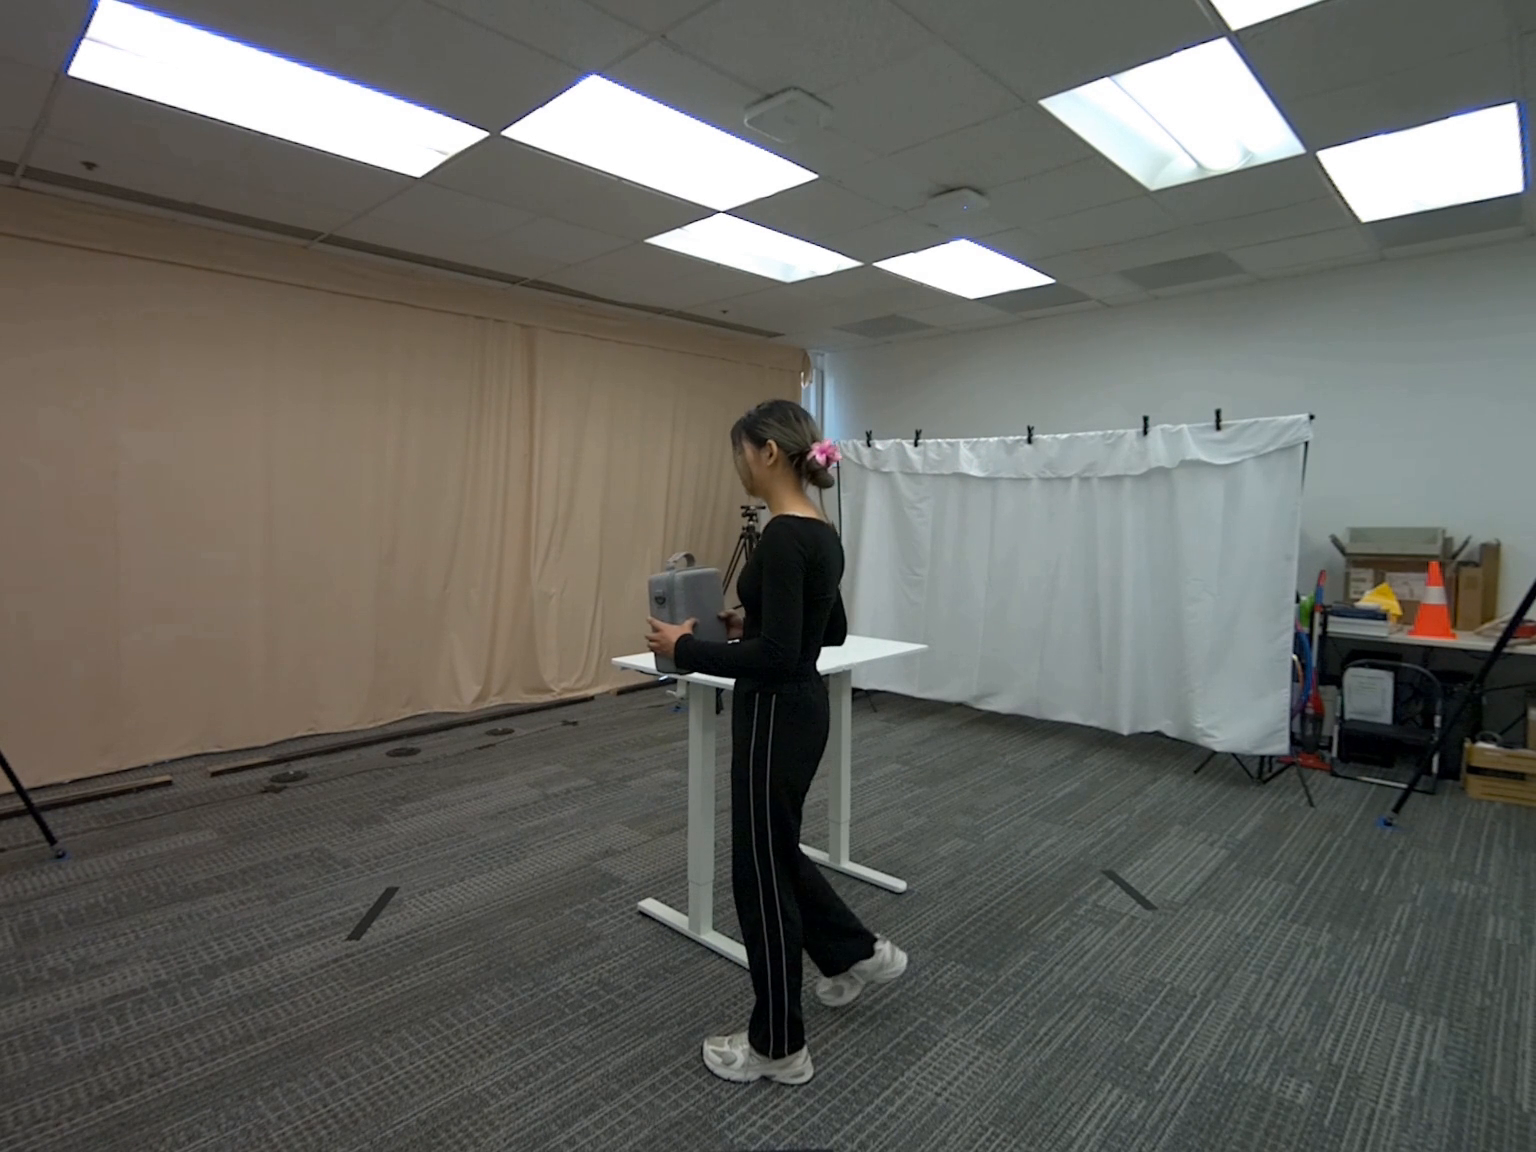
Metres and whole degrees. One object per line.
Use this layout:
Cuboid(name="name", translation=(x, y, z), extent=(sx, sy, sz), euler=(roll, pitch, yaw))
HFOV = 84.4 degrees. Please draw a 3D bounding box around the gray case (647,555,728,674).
Cuboid(name="gray case", translation=(-0.192, 0.108, 2.121), extent=(0.106, 0.261, 0.251), euler=(-7, -1, 23))
